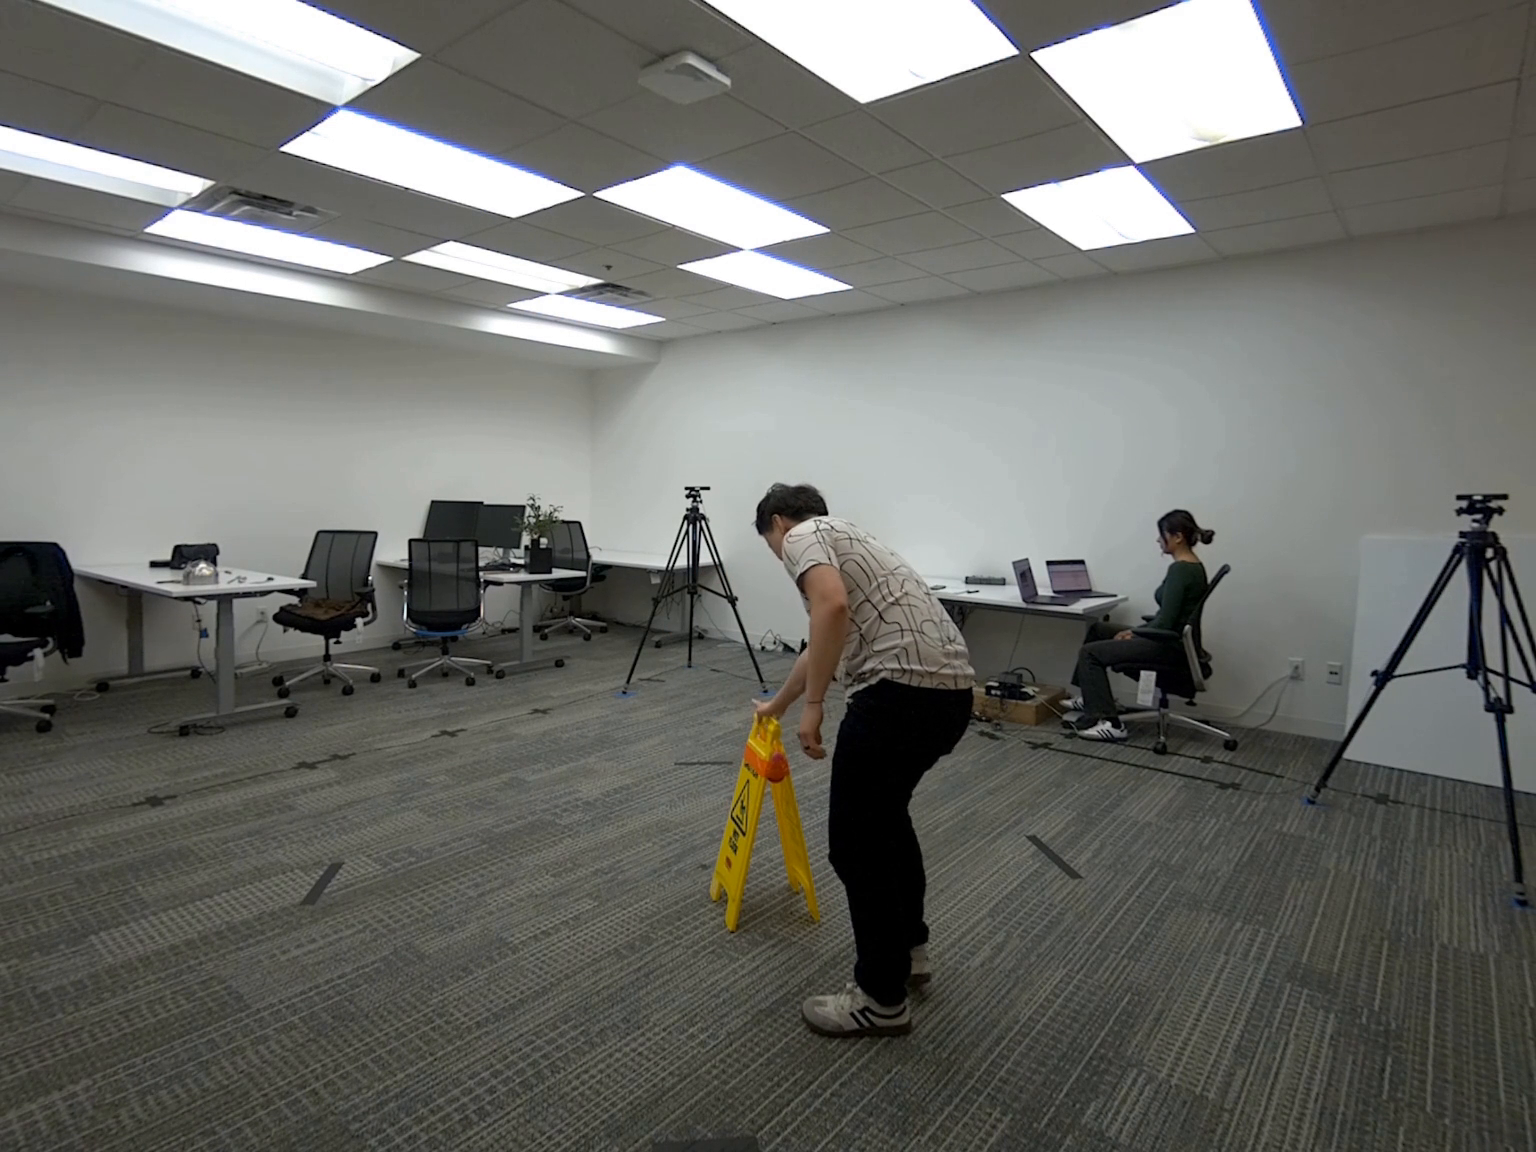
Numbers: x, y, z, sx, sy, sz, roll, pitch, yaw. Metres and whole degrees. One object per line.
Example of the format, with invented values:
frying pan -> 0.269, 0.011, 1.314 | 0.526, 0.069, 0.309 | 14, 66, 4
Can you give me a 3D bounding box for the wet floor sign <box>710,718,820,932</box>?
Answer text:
wet floor sign -> -0.014, 0.769, 2.809 | 0.285, 0.644, 0.288 | 1, 4, -17
